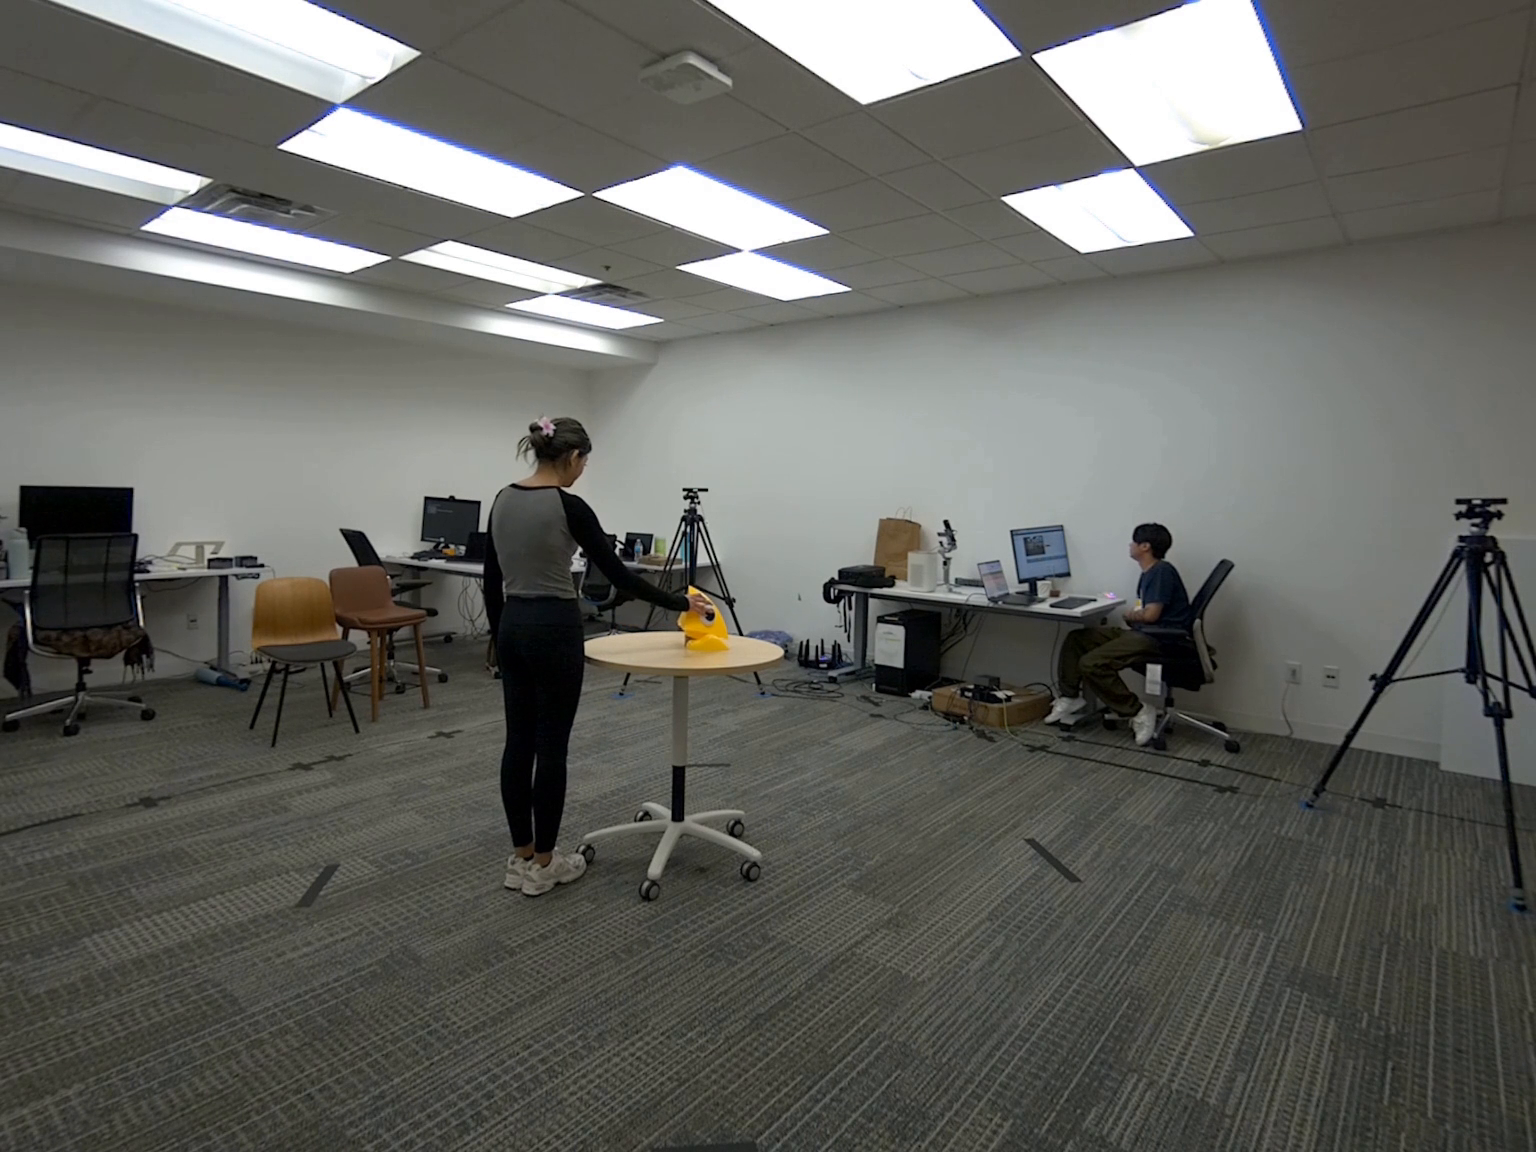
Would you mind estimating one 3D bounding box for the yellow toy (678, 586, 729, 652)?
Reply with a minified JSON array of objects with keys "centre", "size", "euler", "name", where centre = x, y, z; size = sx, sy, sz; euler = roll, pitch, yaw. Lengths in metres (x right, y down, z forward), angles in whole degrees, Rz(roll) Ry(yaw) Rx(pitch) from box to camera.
[{"centre":[-0.252,0.150,3.234],"size":[0.191,0.230,0.208],"euler":[0,4,-11],"name":"yellow toy"}]
